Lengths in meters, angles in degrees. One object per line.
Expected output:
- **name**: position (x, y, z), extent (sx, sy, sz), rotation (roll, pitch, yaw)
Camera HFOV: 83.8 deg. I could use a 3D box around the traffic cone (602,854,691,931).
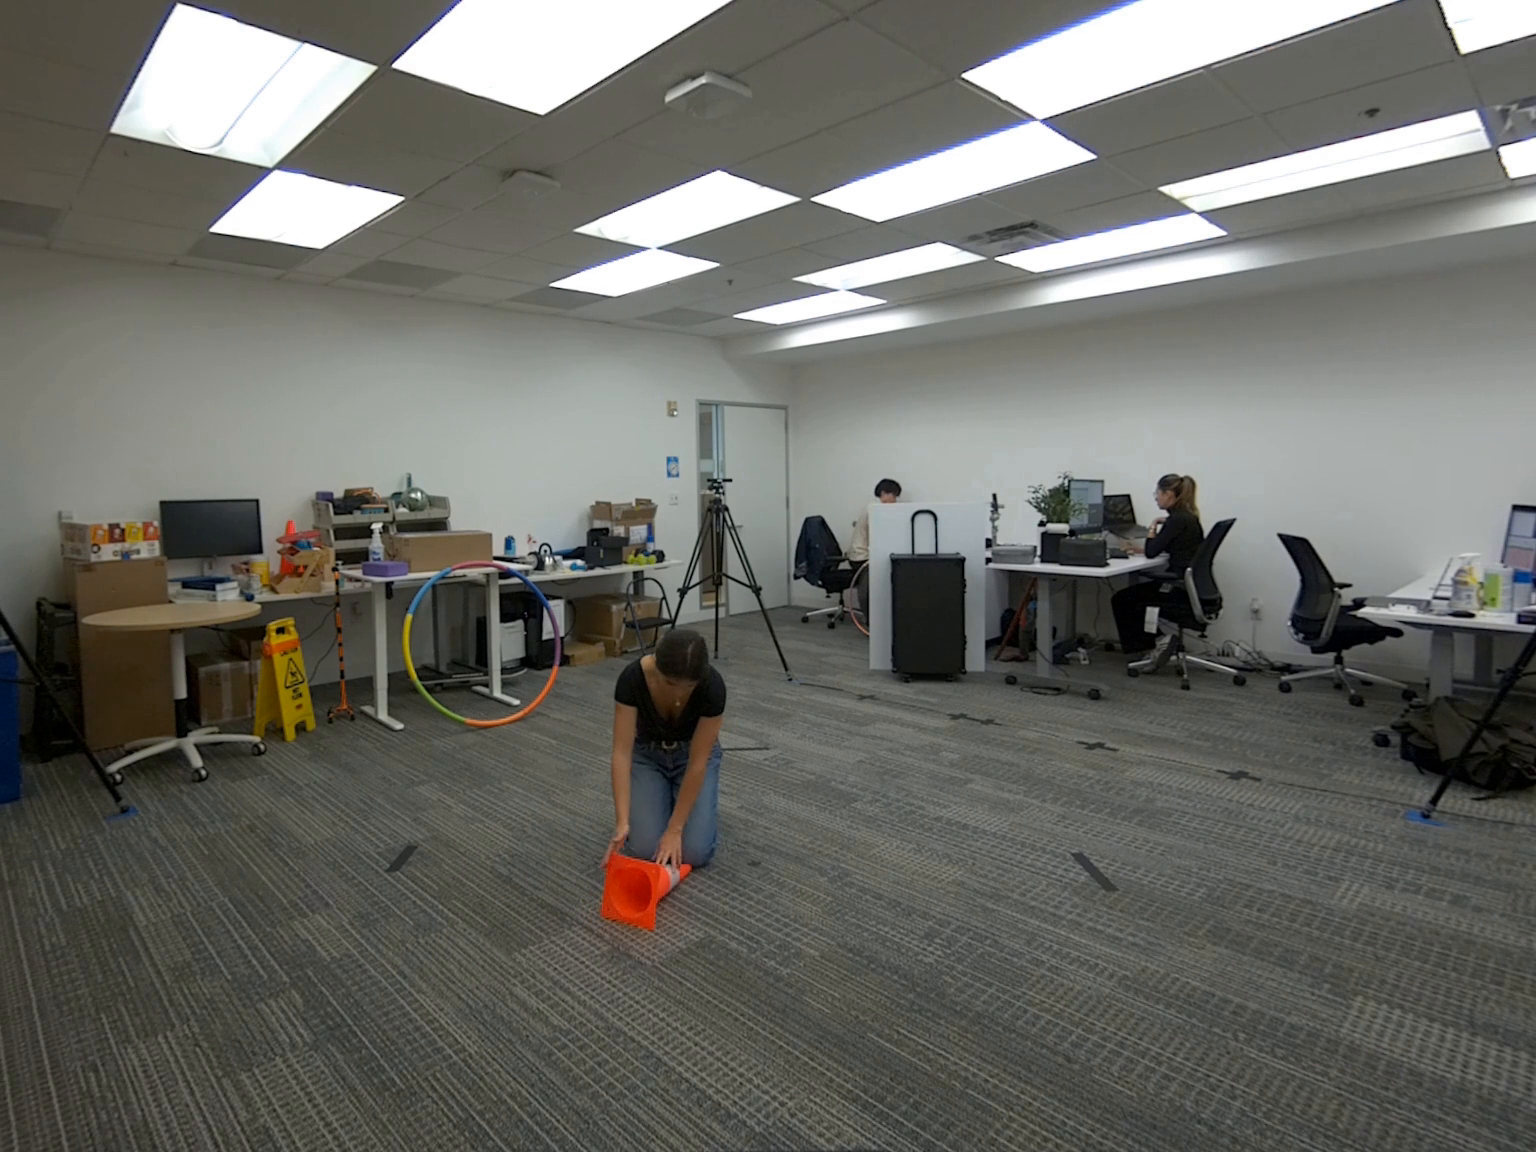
- **traffic cone**: position (-0.364, 1.033, 2.886), extent (0.210, 0.204, 0.373), rotation (3, -4, 25)
